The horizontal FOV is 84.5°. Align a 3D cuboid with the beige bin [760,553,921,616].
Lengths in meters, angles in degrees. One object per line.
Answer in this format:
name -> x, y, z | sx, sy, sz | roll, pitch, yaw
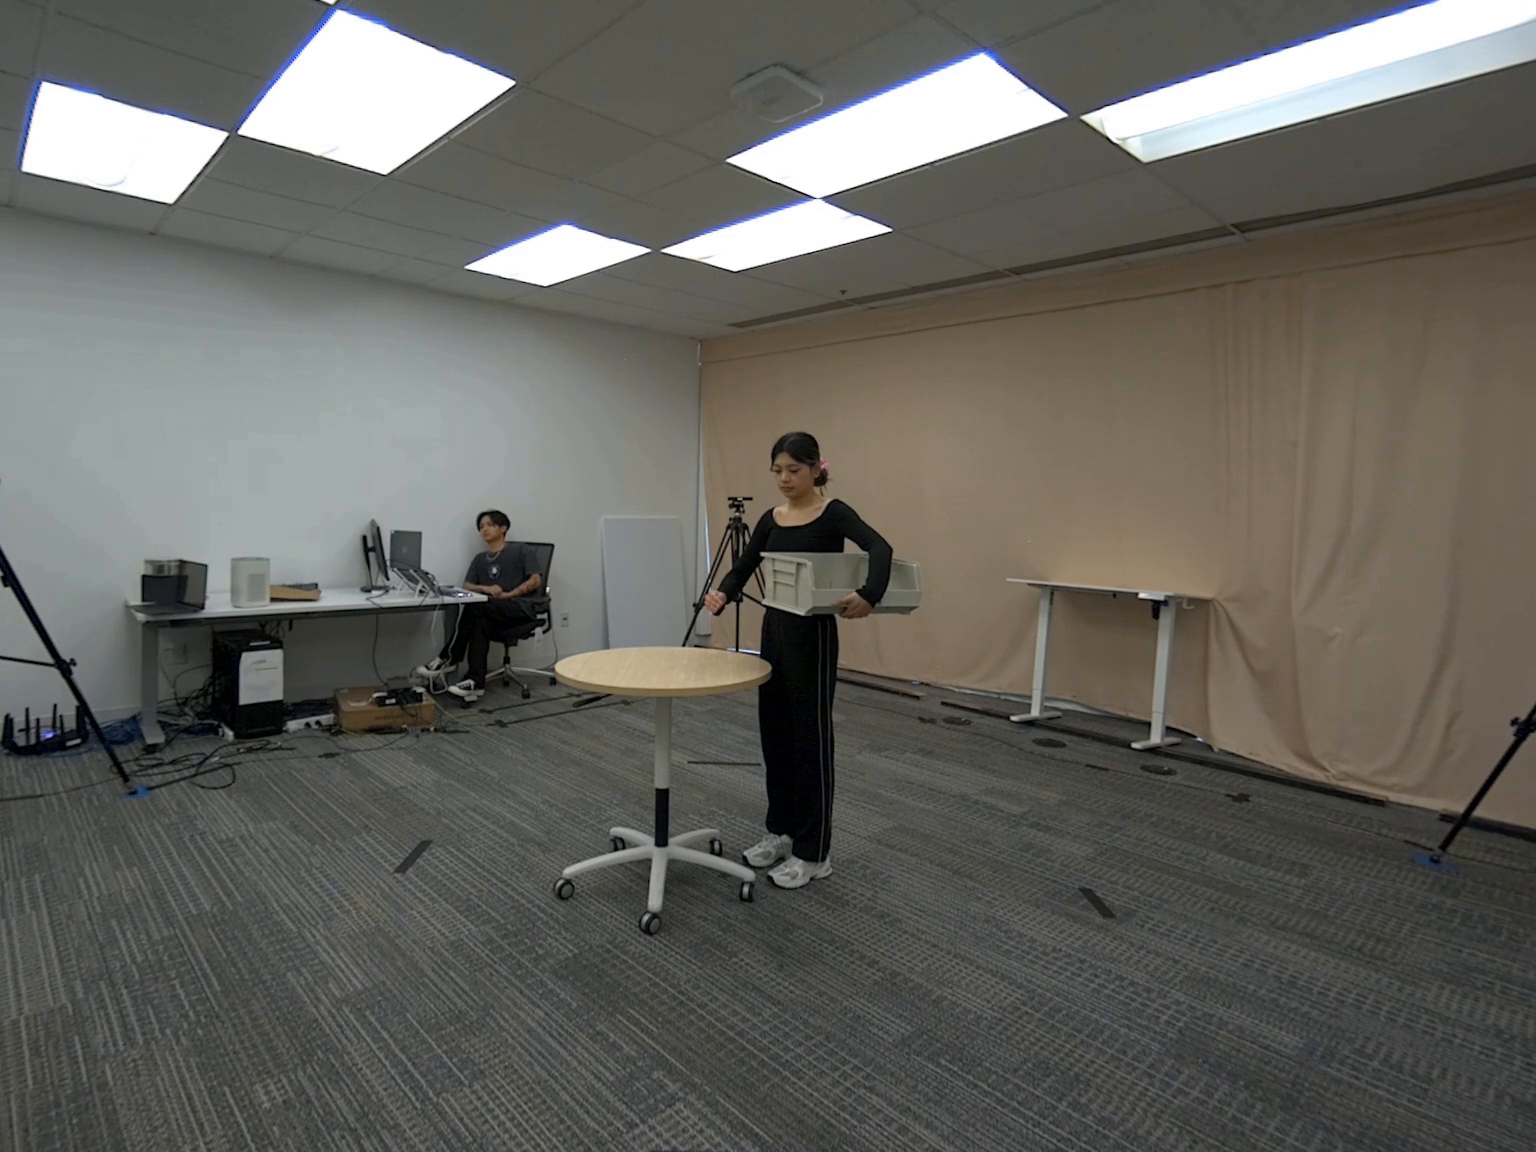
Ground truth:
beige bin -> 0.241, 0.030, 2.858 | 0.415, 0.188, 0.385 | 0, 5, -24
